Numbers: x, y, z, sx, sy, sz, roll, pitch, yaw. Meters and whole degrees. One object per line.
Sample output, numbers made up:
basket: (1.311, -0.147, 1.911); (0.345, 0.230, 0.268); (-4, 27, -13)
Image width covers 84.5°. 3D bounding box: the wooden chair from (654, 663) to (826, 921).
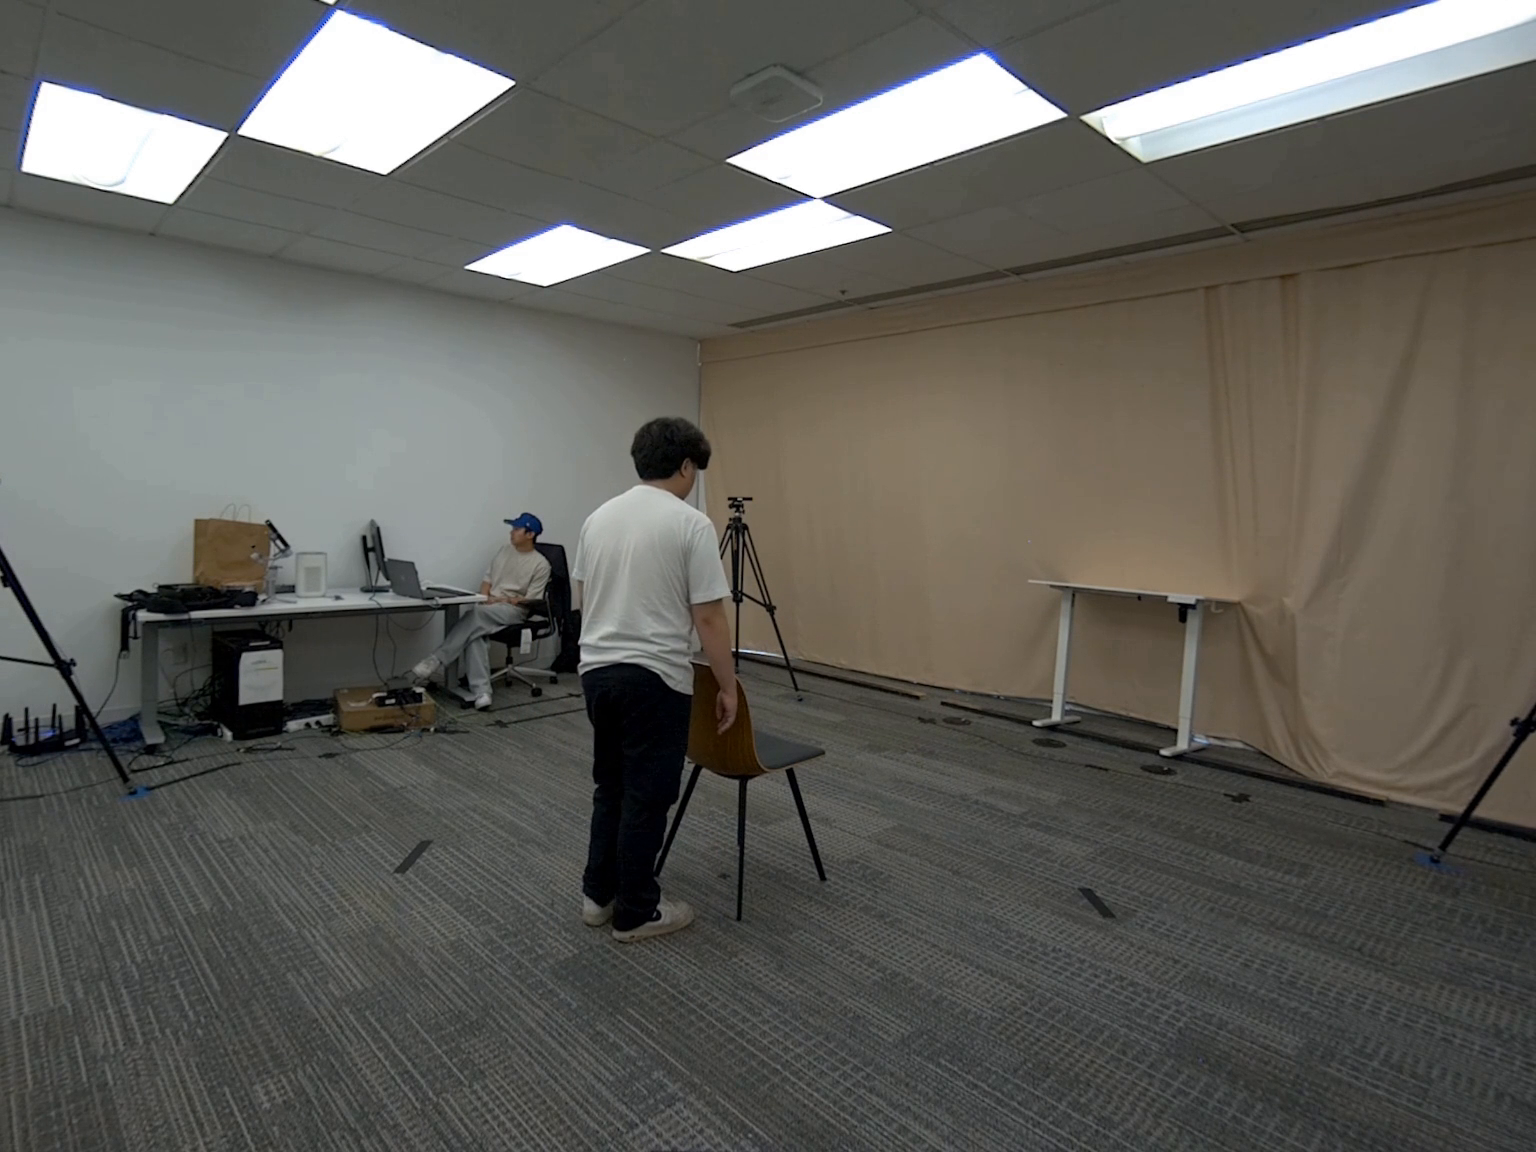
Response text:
wooden chair: (-0.091, 0.686, 3.063); (0.490, 0.873, 0.512); (4, 9, 44)
